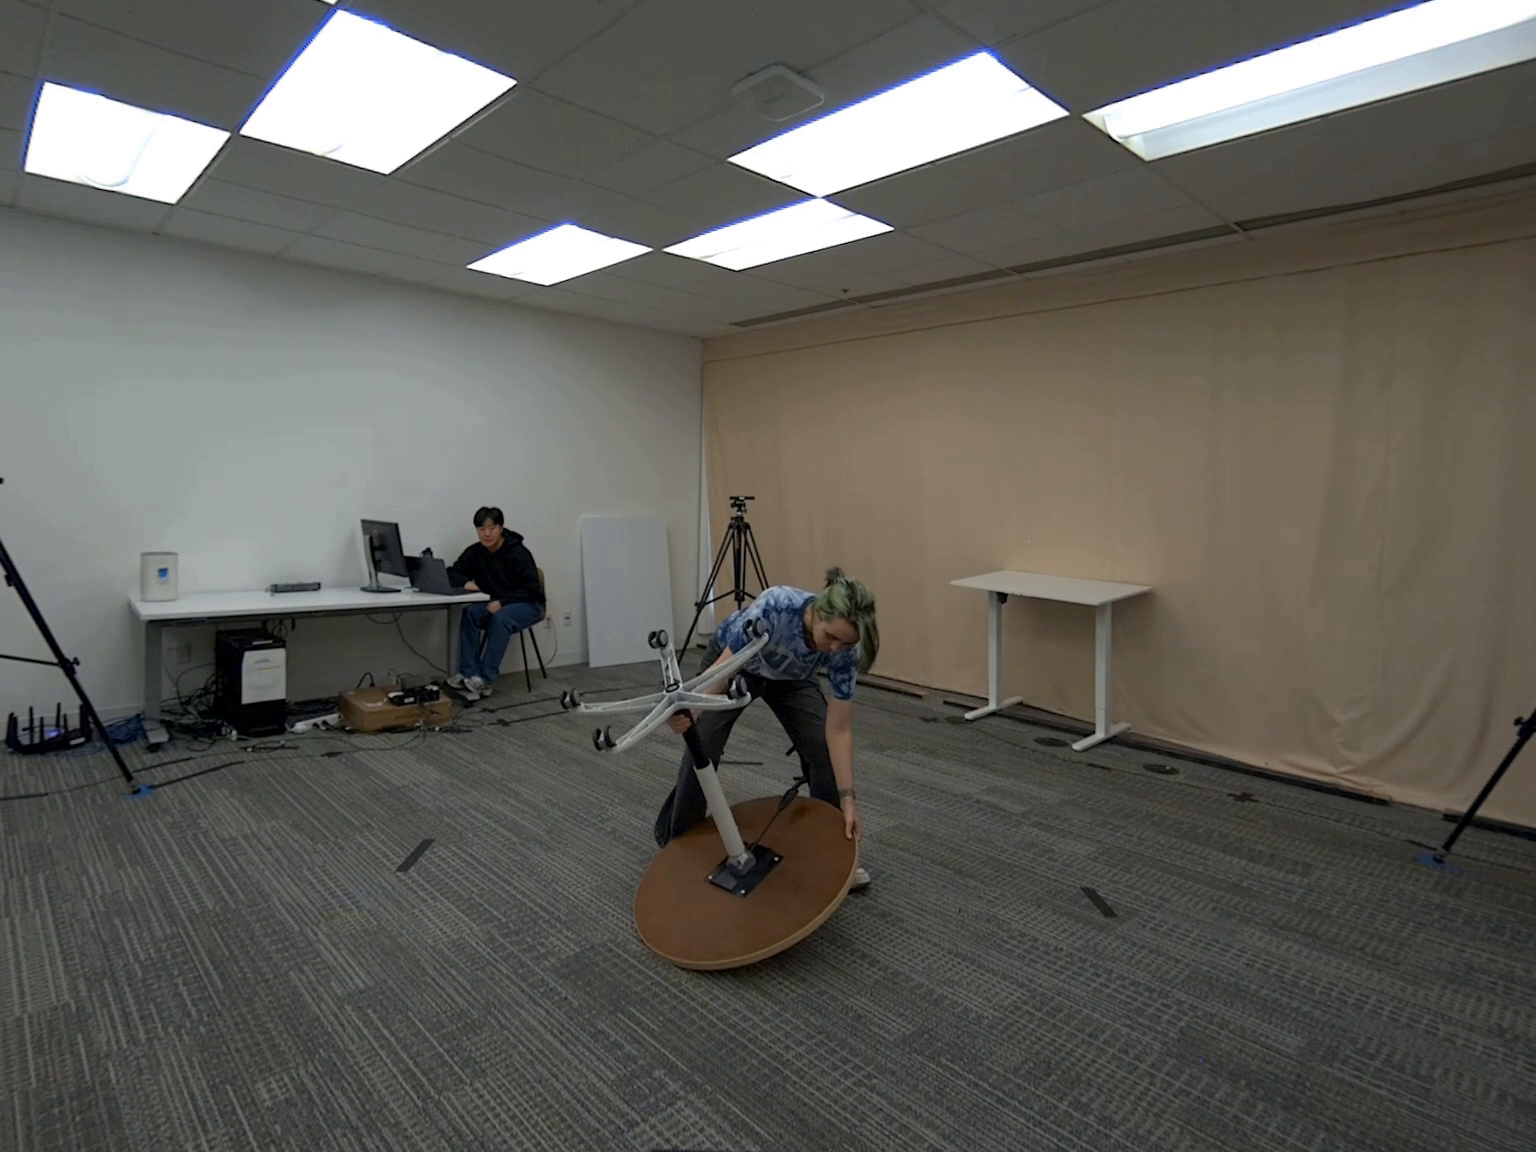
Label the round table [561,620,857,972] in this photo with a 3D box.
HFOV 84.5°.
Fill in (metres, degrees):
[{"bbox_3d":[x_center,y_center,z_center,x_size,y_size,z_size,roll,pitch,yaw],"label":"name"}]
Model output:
[{"bbox_3d":[-0.208,0.634,2.658,0.766,0.782,0.774,-18,17,4],"label":"round table"}]
